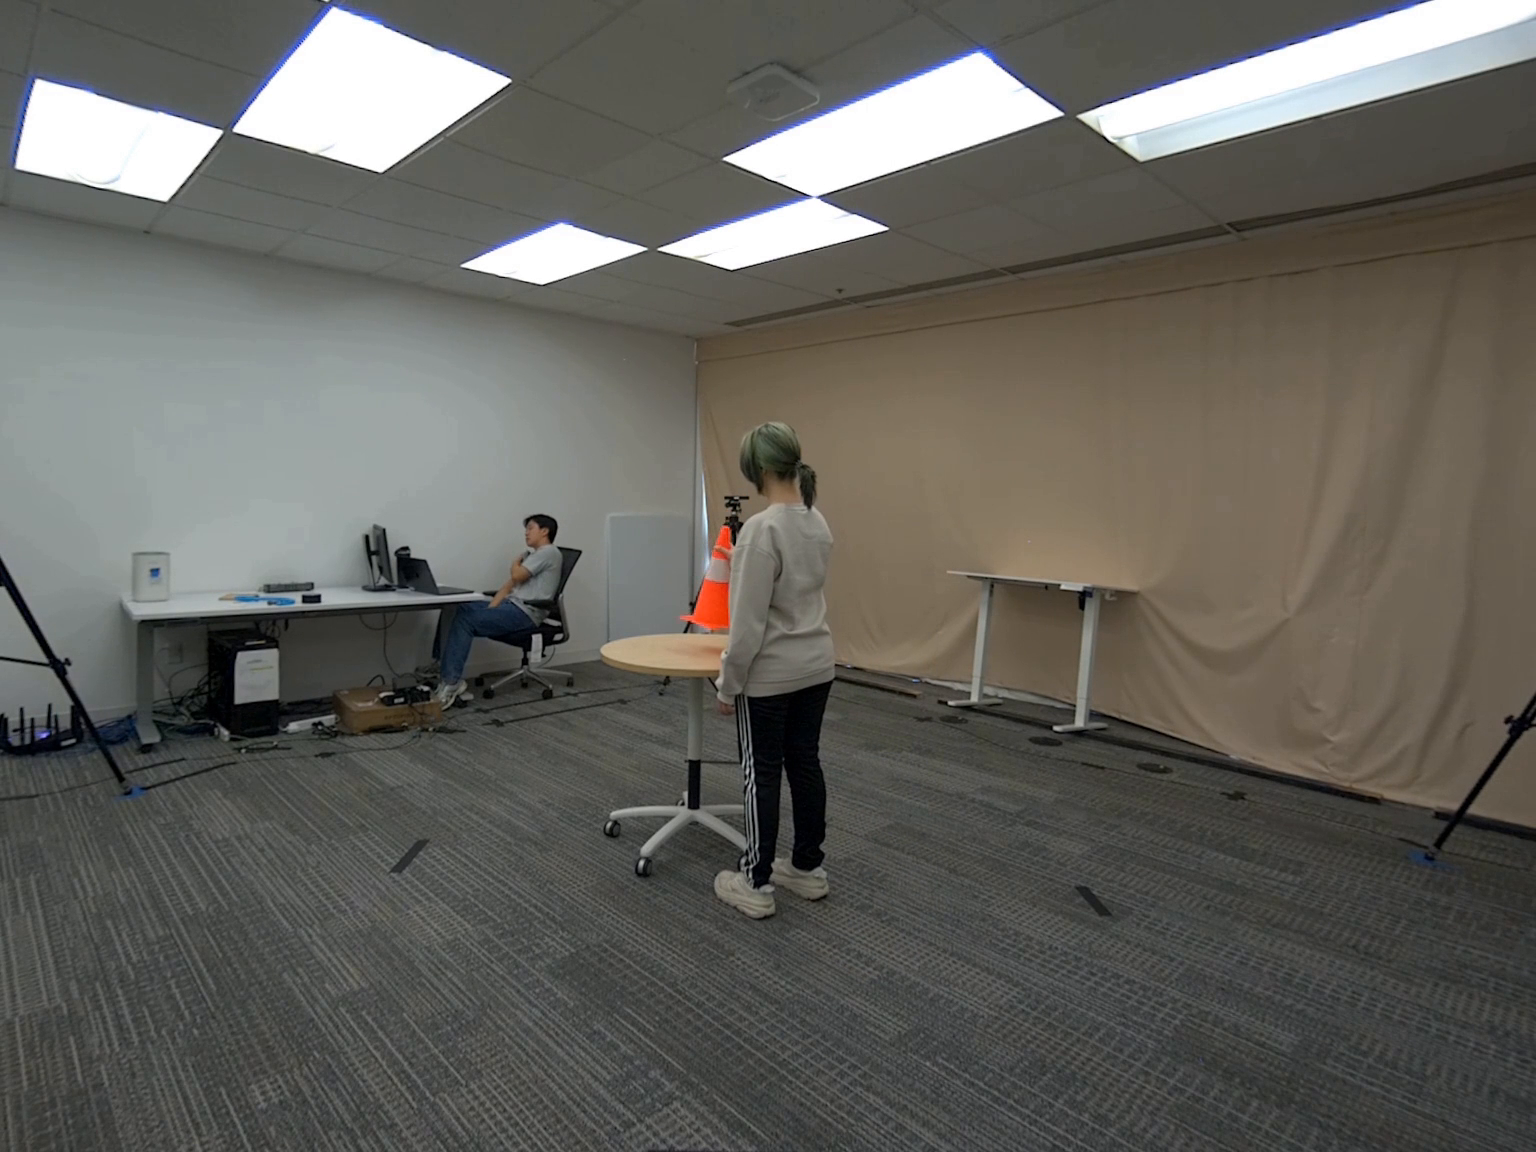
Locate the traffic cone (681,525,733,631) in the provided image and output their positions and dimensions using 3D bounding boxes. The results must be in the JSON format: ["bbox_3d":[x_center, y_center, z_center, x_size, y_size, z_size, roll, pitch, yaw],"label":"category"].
[{"bbox_3d":[-0.198,-0.007,3.320,0.209,0.383,0.200,11,4,36],"label":"traffic cone"}]
